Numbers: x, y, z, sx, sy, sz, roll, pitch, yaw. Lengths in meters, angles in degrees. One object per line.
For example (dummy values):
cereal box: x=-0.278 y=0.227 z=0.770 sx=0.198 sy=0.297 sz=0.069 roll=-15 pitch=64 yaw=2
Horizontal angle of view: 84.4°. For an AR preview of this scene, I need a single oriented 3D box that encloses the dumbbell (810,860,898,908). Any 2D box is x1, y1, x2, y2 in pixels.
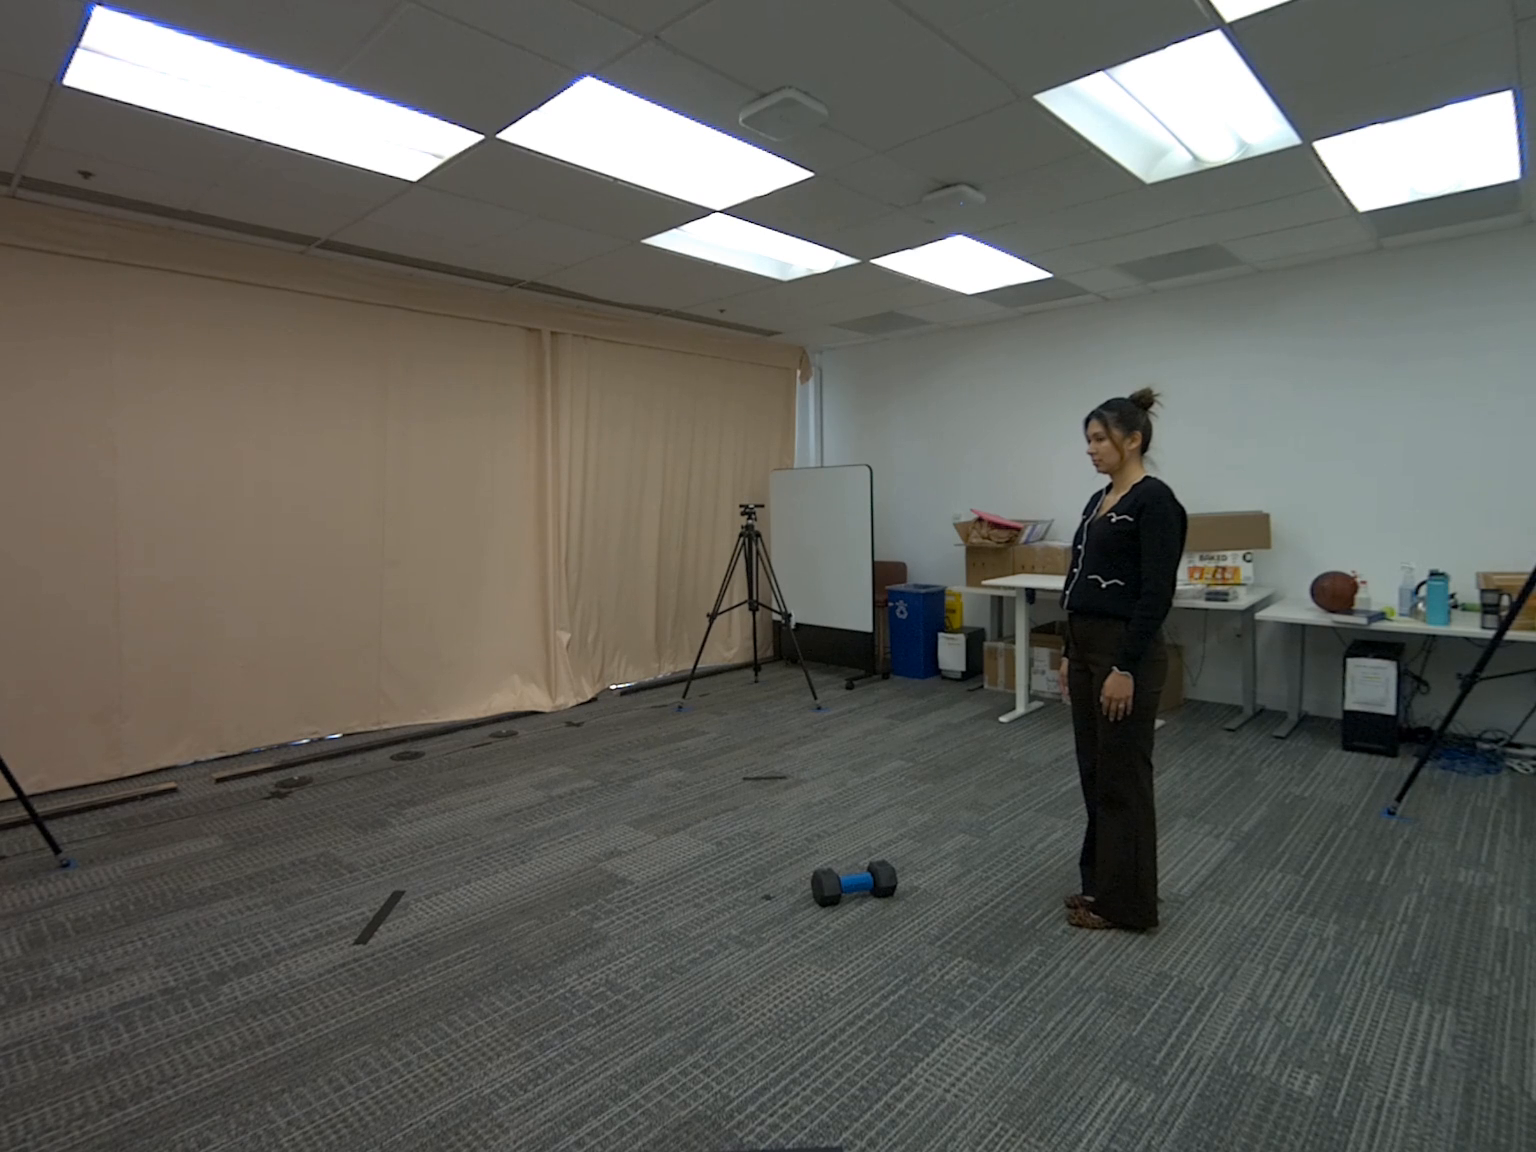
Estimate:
dumbbell: x=0.307 y=1.084 z=2.962 sx=0.289 sy=0.125 sz=0.108 roll=-2 pitch=-26 yaw=-15
